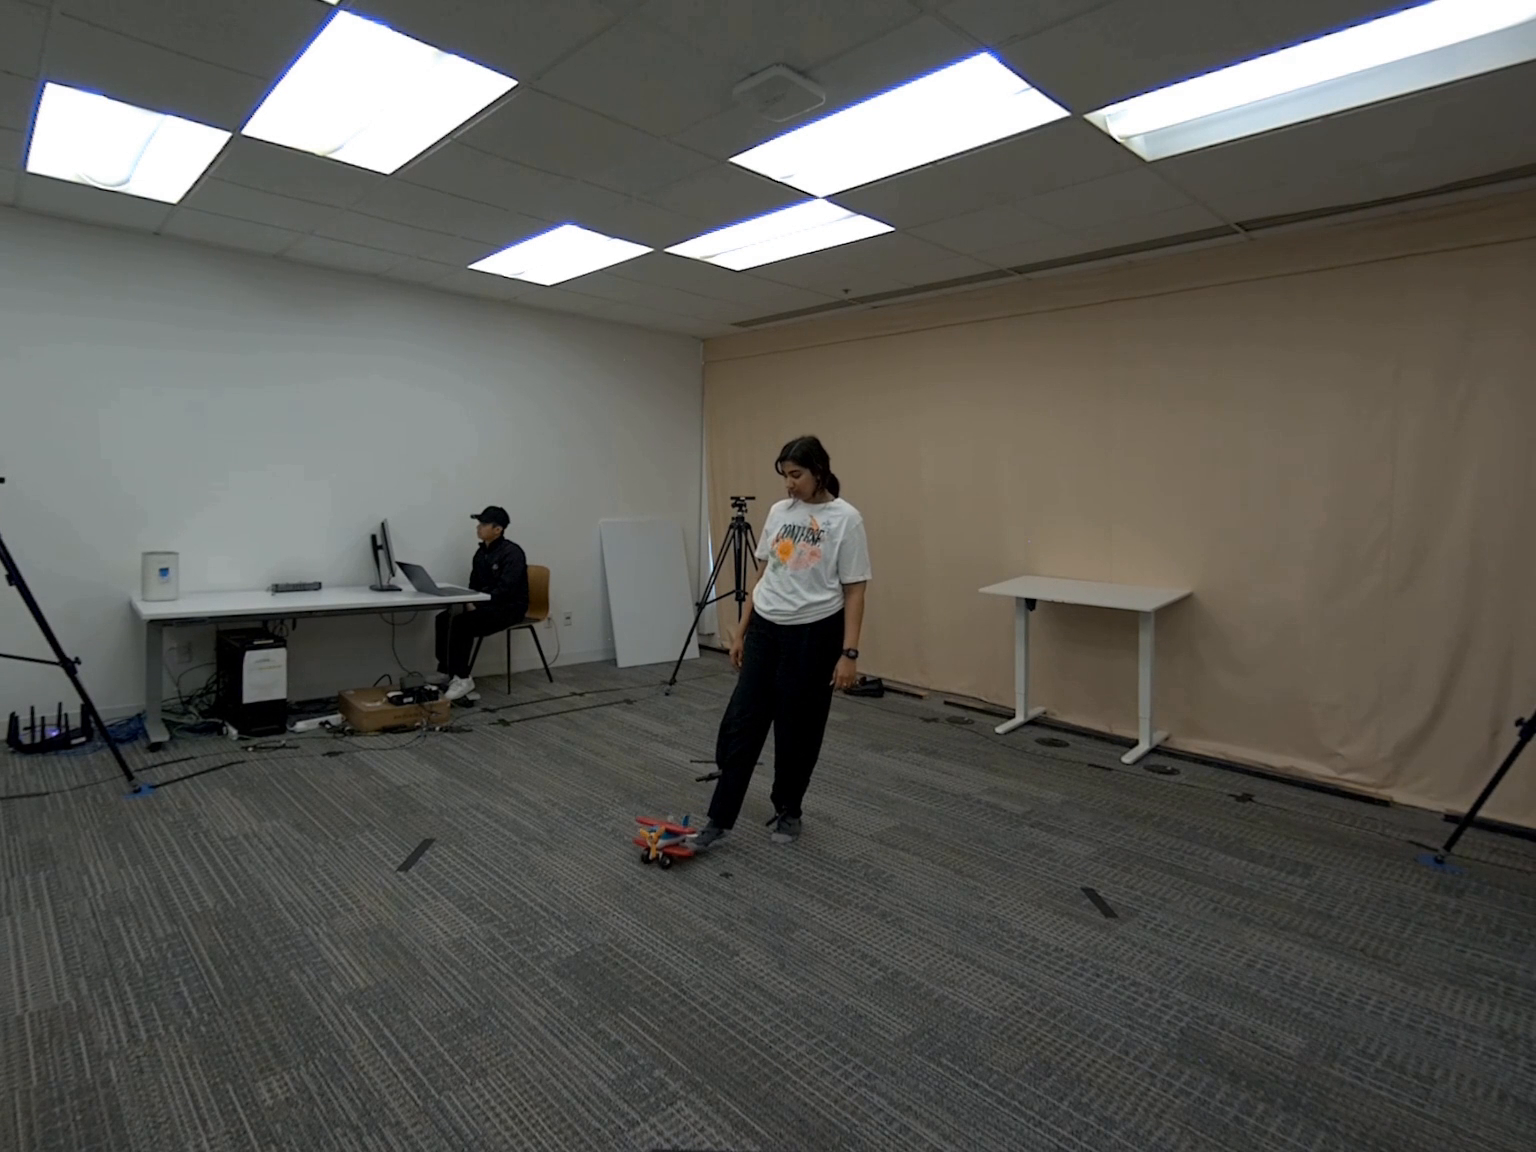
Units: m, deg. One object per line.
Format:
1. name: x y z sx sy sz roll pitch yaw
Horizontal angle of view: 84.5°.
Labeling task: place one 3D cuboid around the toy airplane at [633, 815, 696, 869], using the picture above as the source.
1. toy airplane: -0.403 1.009 3.248 0.251 0.156 0.260 1 5 0
